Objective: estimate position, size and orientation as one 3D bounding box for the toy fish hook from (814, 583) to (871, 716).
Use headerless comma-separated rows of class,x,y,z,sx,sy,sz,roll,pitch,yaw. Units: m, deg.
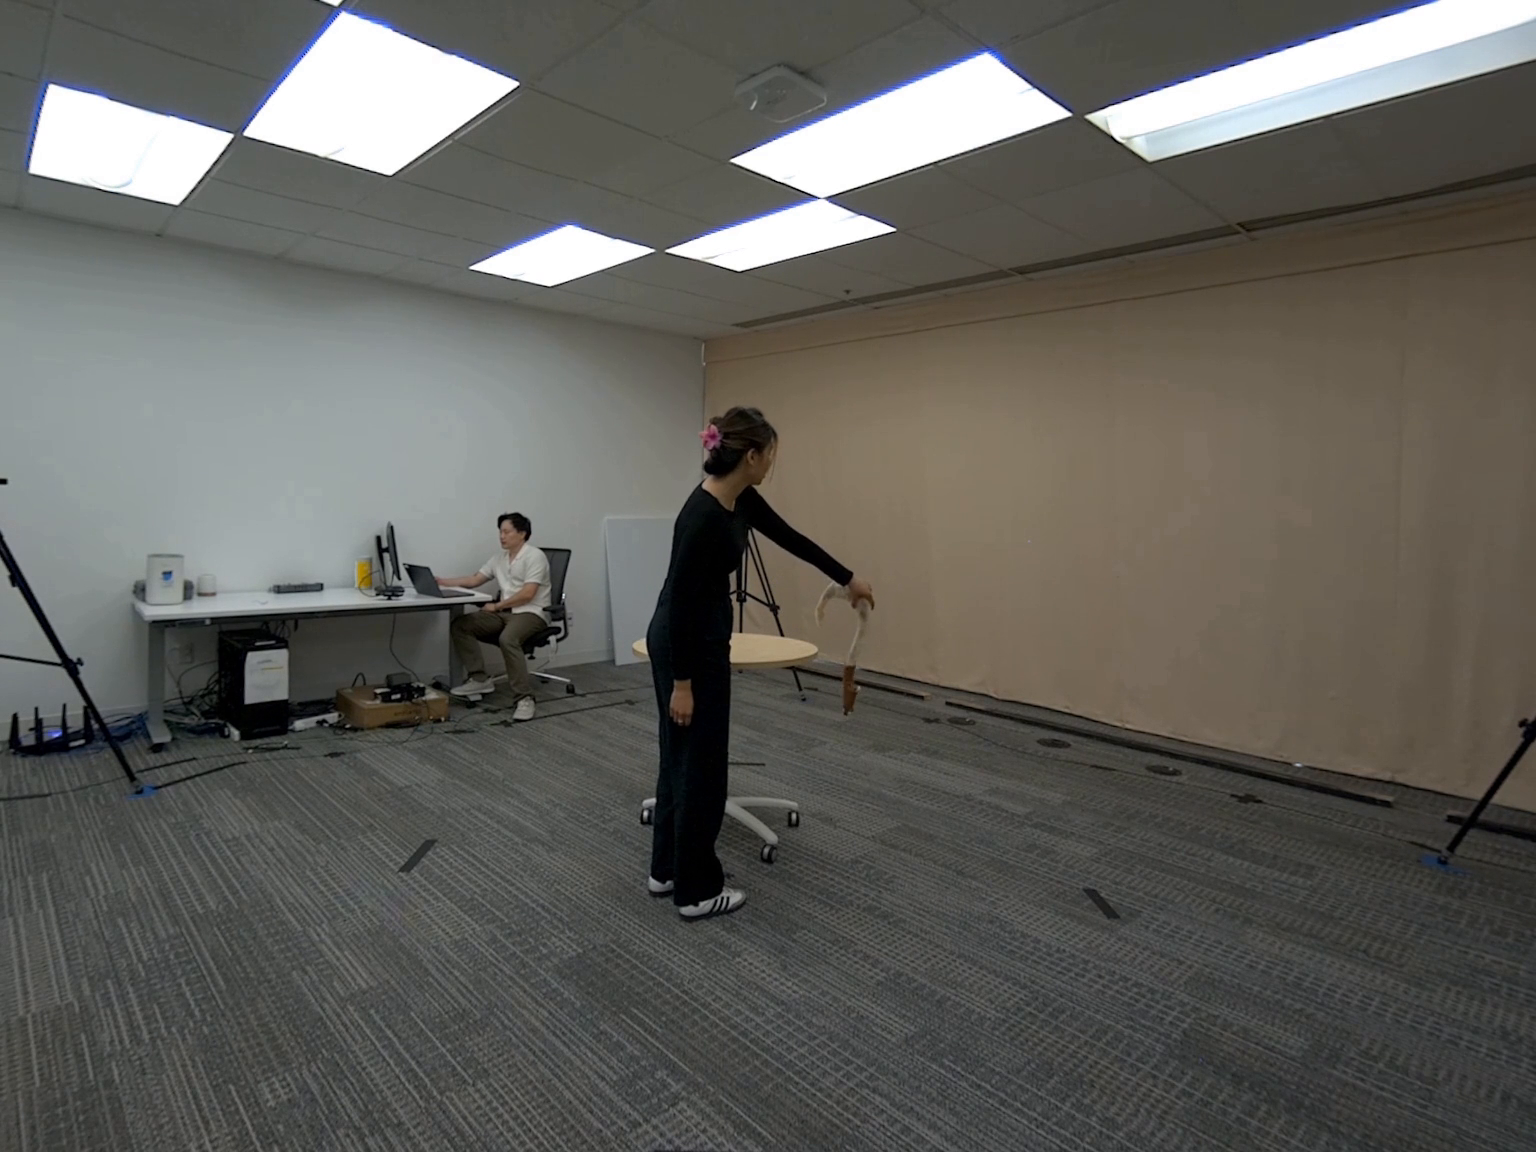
toy fish hook,0.270,0.269,3.166,0.230,0.503,0.047,9,13,33
